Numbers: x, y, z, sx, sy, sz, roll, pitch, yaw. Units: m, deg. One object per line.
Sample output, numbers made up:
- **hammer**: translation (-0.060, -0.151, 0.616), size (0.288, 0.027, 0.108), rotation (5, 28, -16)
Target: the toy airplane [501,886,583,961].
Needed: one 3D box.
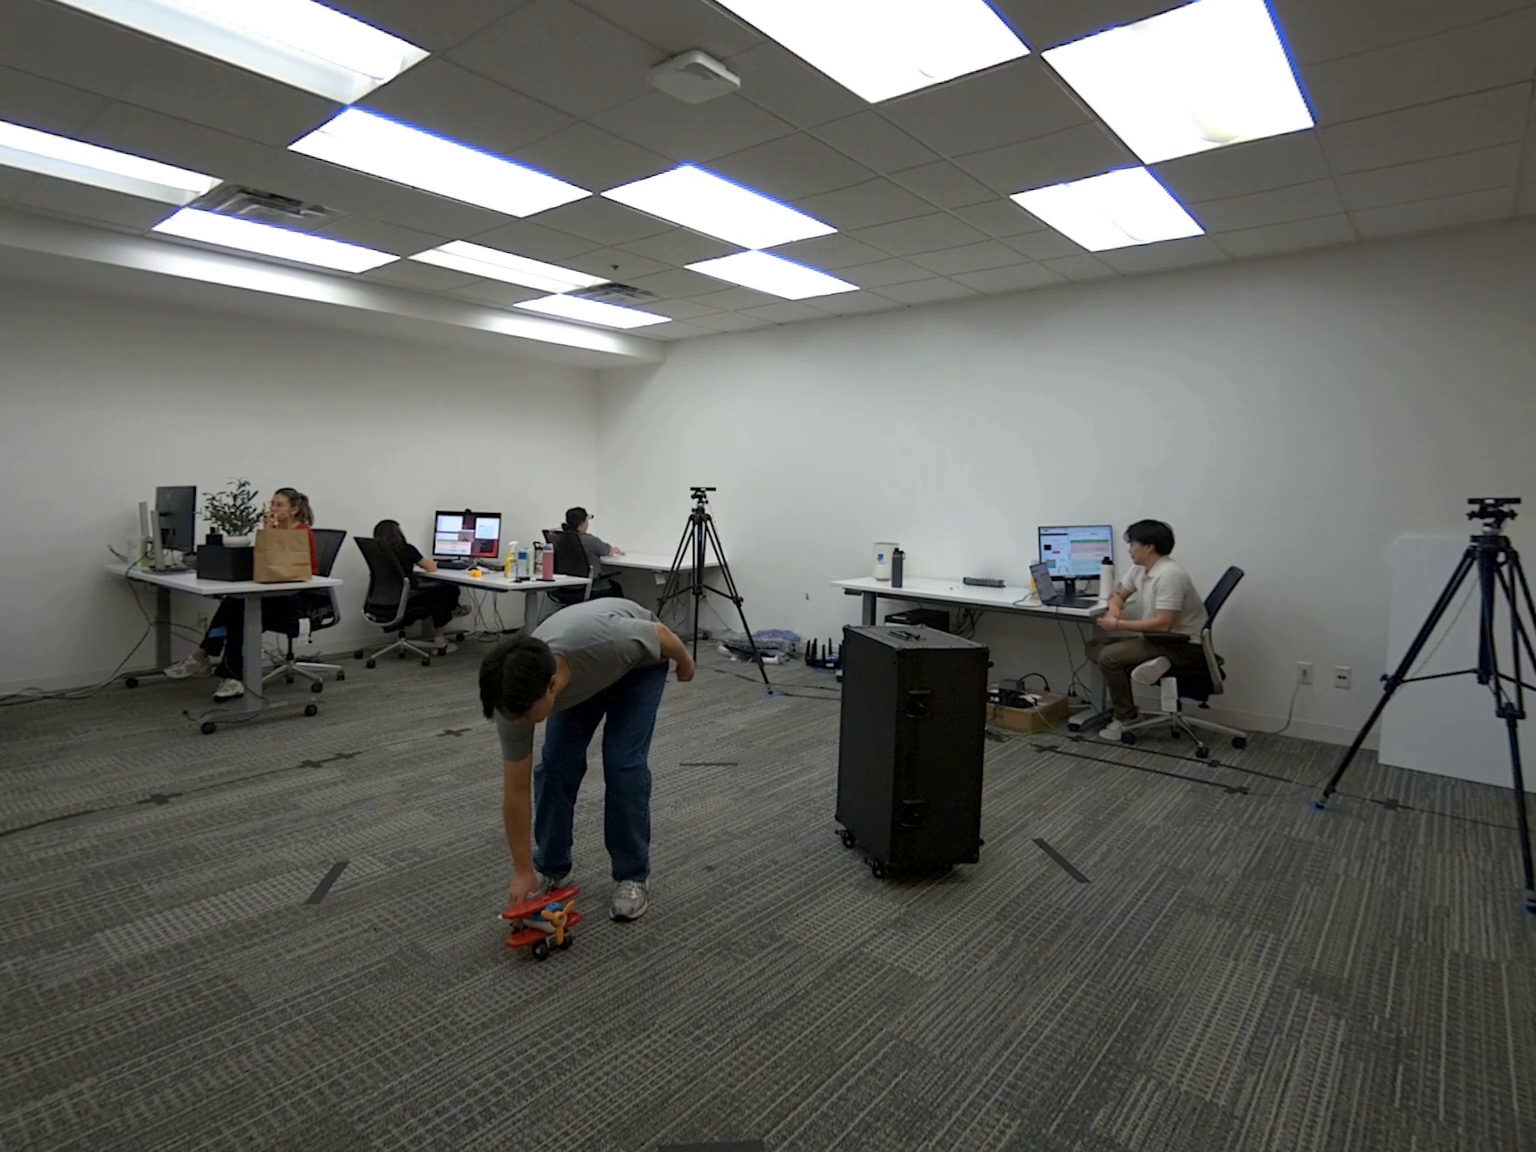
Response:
- **toy airplane**: translation (-0.727, 1.034, 2.555), size (0.264, 0.156, 0.248), rotation (4, 5, 14)
